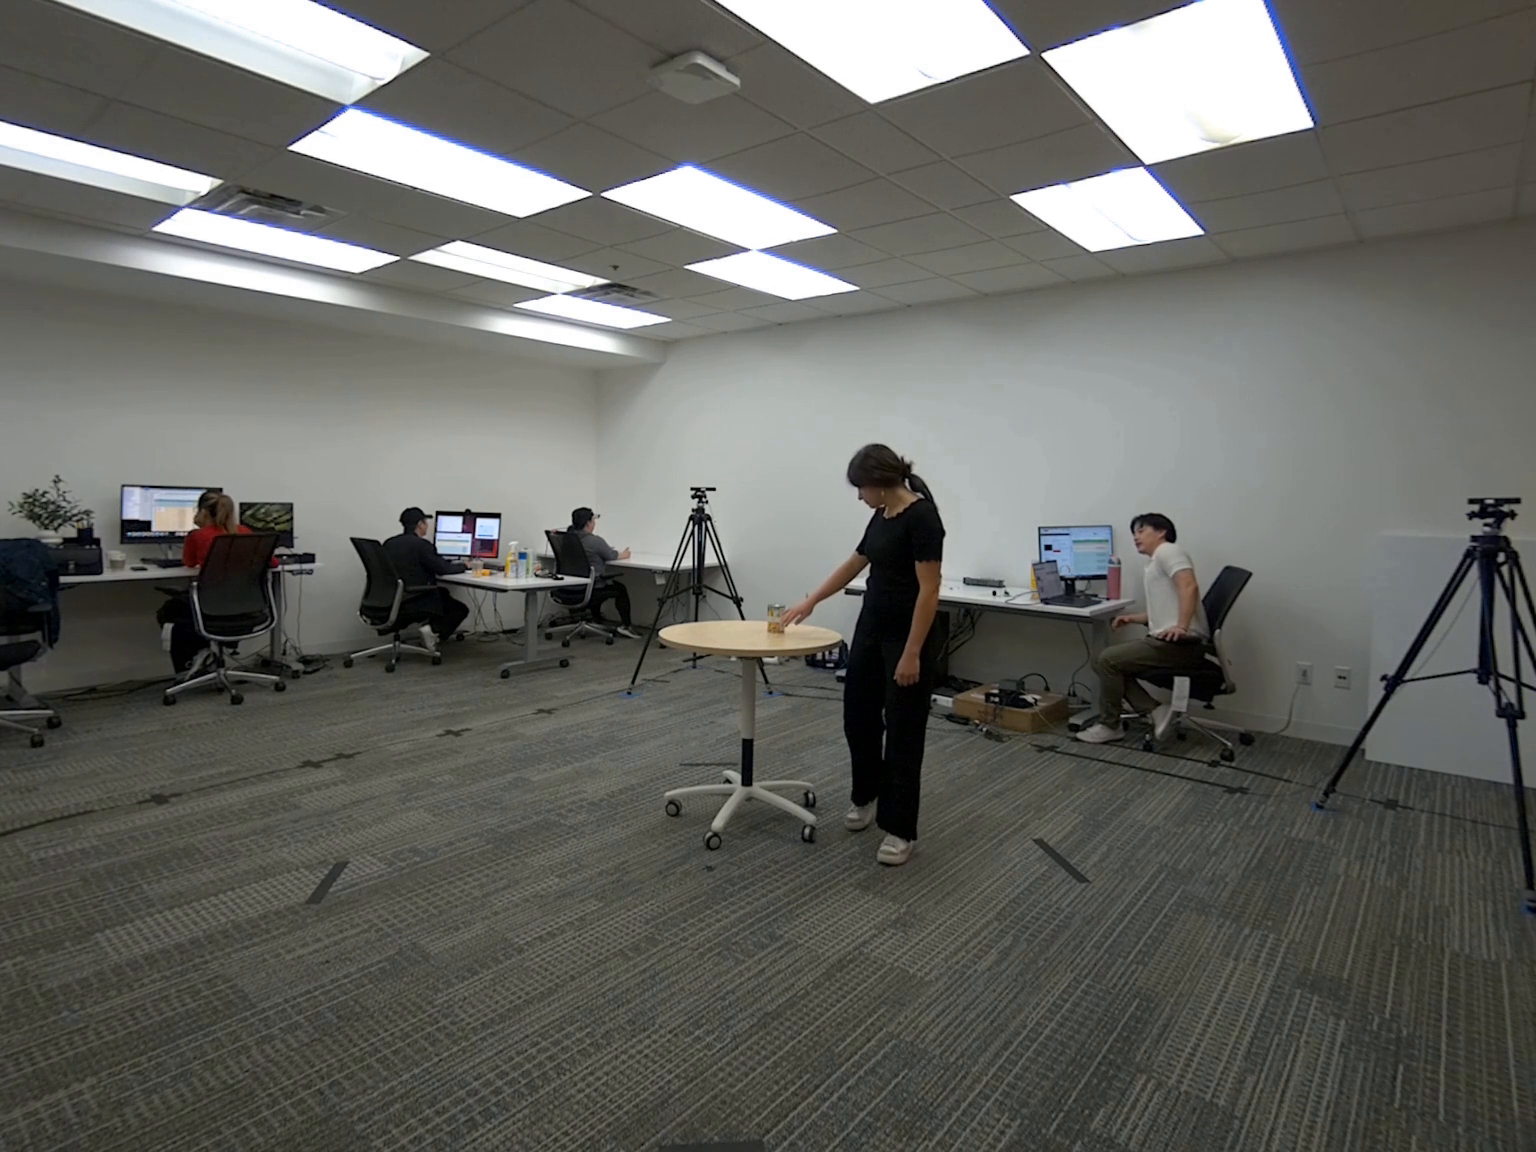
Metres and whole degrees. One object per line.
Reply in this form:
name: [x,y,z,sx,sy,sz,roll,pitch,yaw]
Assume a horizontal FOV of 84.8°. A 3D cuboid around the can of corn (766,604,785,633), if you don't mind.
can of corn: [0.026,0.178,3.634,0.074,0.111,0.074,2,3,-2]
